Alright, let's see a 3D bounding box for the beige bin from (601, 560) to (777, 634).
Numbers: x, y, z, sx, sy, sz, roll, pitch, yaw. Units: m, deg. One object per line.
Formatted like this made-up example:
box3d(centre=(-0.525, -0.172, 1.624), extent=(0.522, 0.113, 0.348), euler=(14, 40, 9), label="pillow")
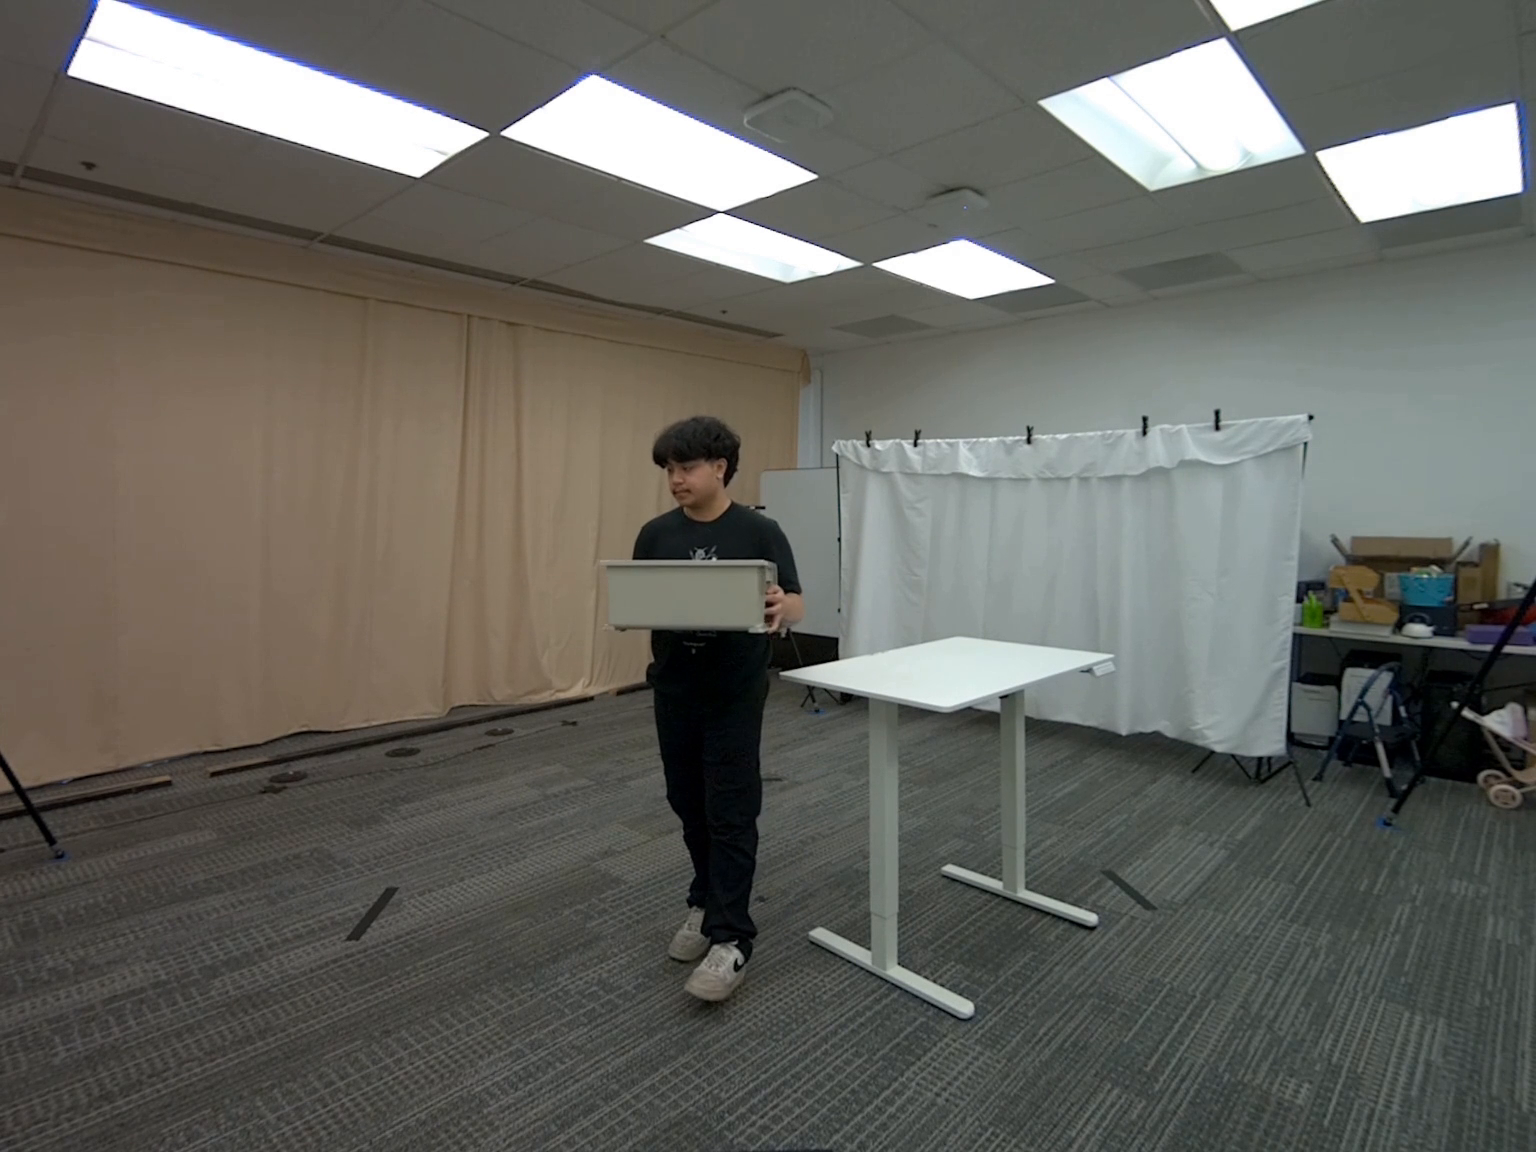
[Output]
box3d(centre=(-0.205, 0.059, 2.289), extent=(0.425, 0.189, 0.375), euler=(1, 0, 5), label="beige bin")
